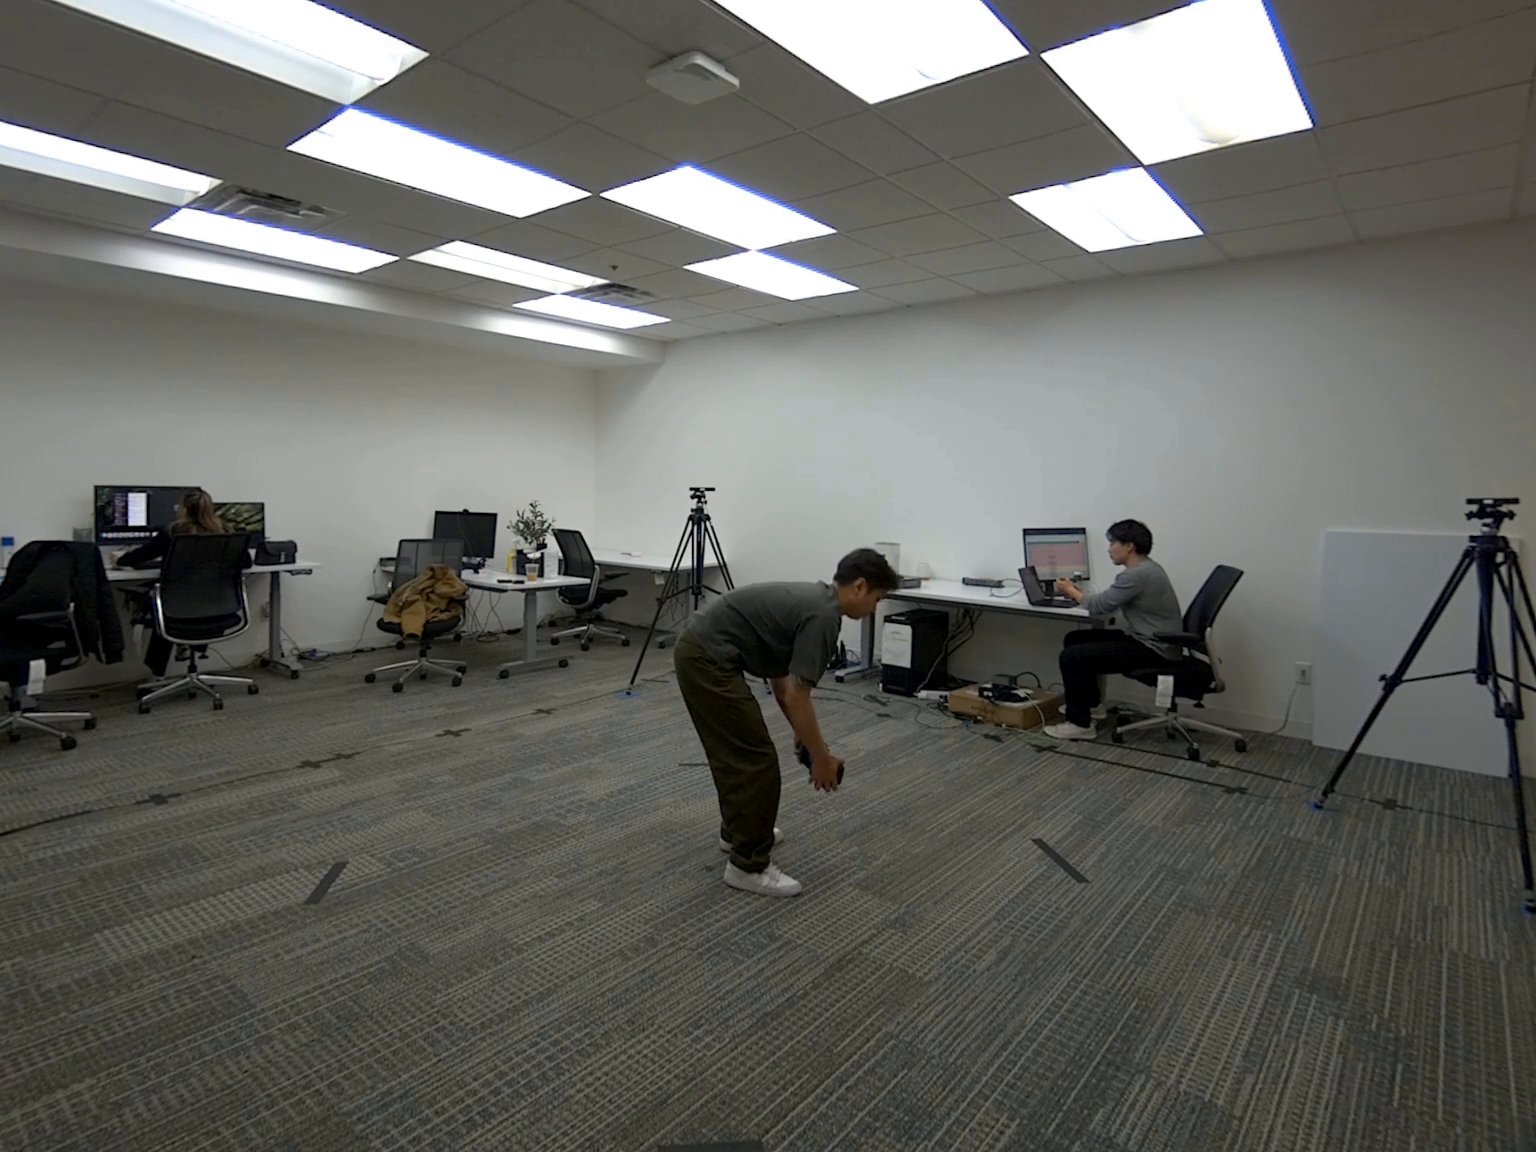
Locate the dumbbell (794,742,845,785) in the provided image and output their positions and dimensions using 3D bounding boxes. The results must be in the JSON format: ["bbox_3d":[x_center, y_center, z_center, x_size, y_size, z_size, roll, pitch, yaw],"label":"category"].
[{"bbox_3d":[0.184,0.682,3.133,0.121,0.109,0.298,43,-4,-12],"label":"dumbbell"}]
